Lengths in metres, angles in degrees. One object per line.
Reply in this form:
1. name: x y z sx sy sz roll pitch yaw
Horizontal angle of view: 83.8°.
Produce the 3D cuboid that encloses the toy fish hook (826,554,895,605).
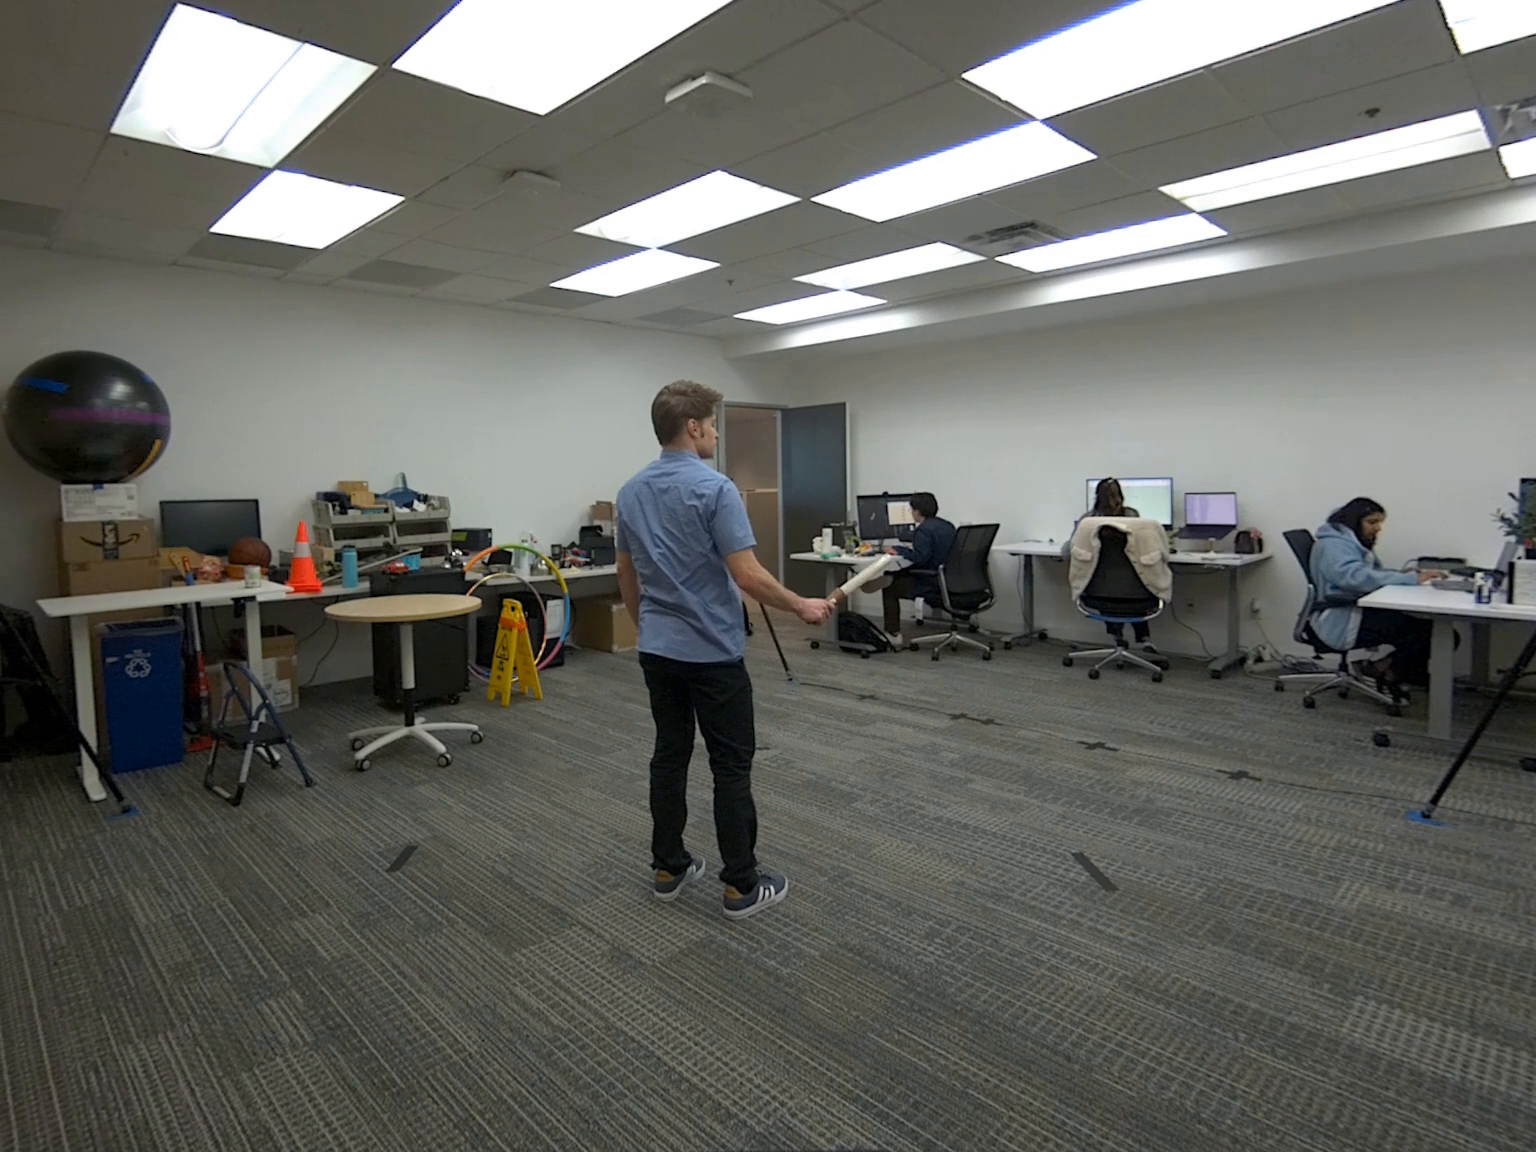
1. toy fish hook: 0.257 0.056 3.036 0.502 0.049 0.224 -34 -6 -39
